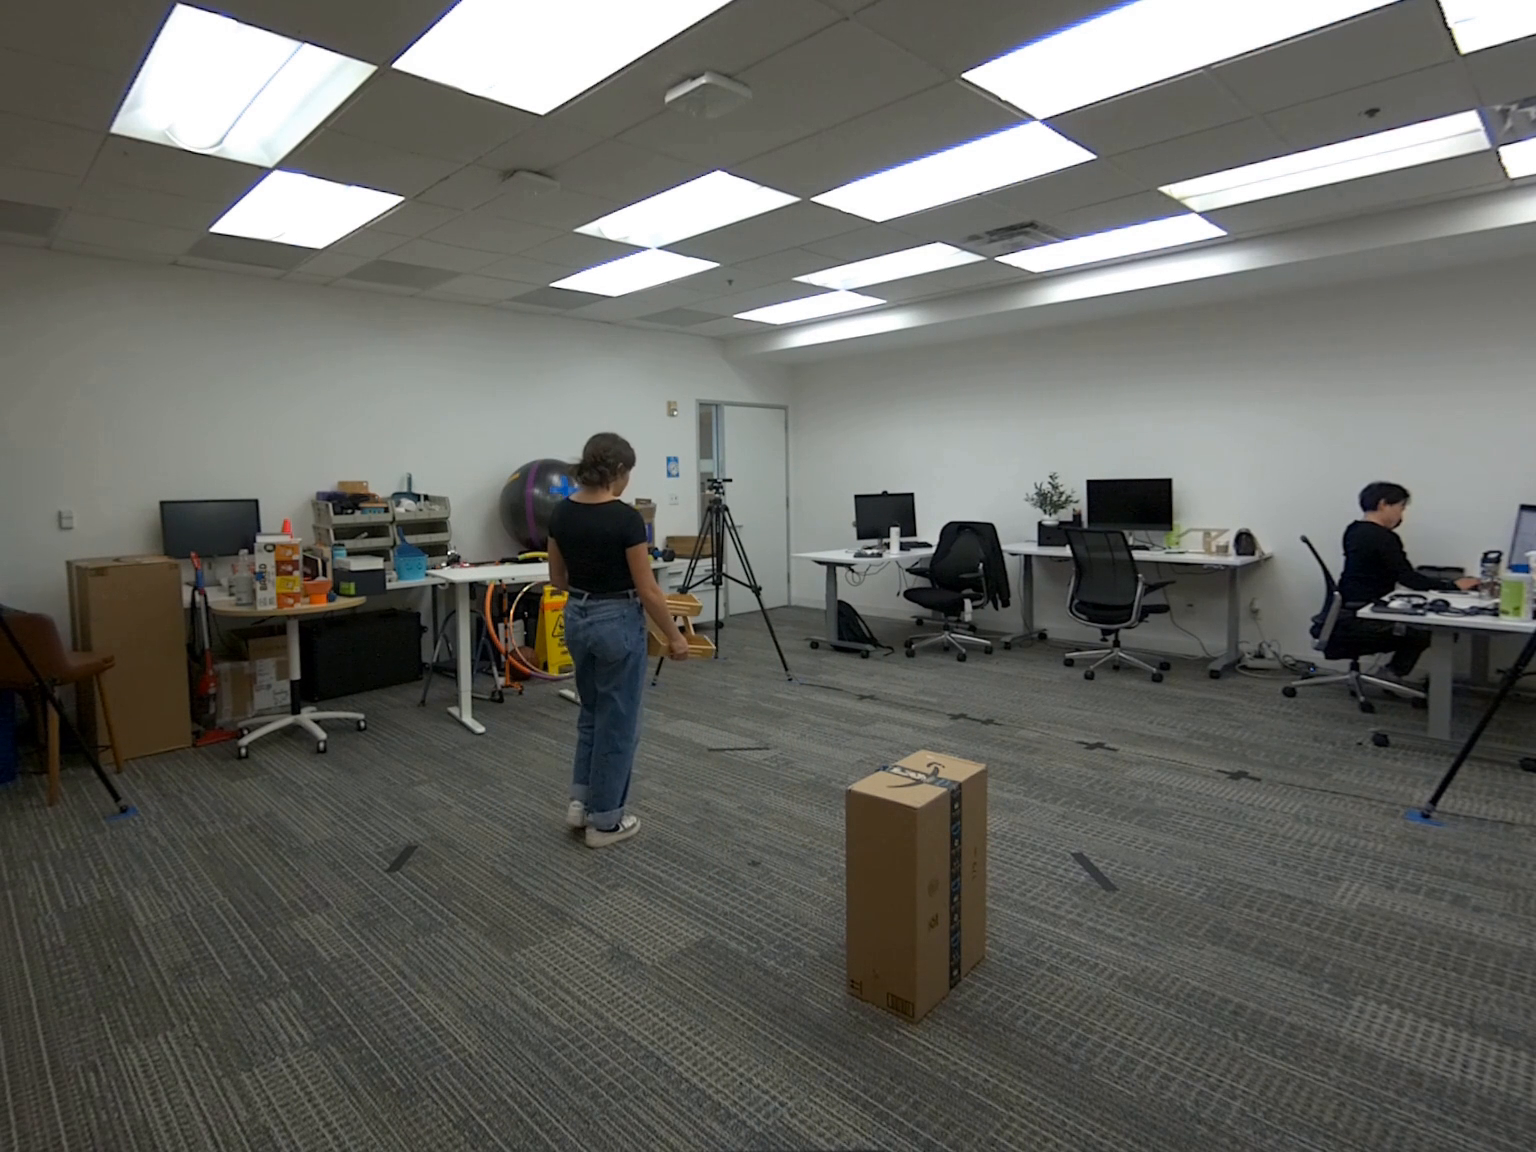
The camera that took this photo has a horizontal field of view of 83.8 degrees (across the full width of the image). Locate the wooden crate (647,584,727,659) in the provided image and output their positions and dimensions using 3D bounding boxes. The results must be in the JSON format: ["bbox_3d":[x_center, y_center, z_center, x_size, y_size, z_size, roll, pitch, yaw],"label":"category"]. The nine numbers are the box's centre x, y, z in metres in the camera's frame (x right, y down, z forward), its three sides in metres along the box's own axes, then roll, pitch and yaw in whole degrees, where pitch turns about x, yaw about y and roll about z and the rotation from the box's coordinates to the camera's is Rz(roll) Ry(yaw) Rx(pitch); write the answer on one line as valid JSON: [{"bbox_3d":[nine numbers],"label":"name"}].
[{"bbox_3d":[-0.395,0.185,3.461,0.310,0.275,0.314,-3,-8,37],"label":"wooden crate"}]
